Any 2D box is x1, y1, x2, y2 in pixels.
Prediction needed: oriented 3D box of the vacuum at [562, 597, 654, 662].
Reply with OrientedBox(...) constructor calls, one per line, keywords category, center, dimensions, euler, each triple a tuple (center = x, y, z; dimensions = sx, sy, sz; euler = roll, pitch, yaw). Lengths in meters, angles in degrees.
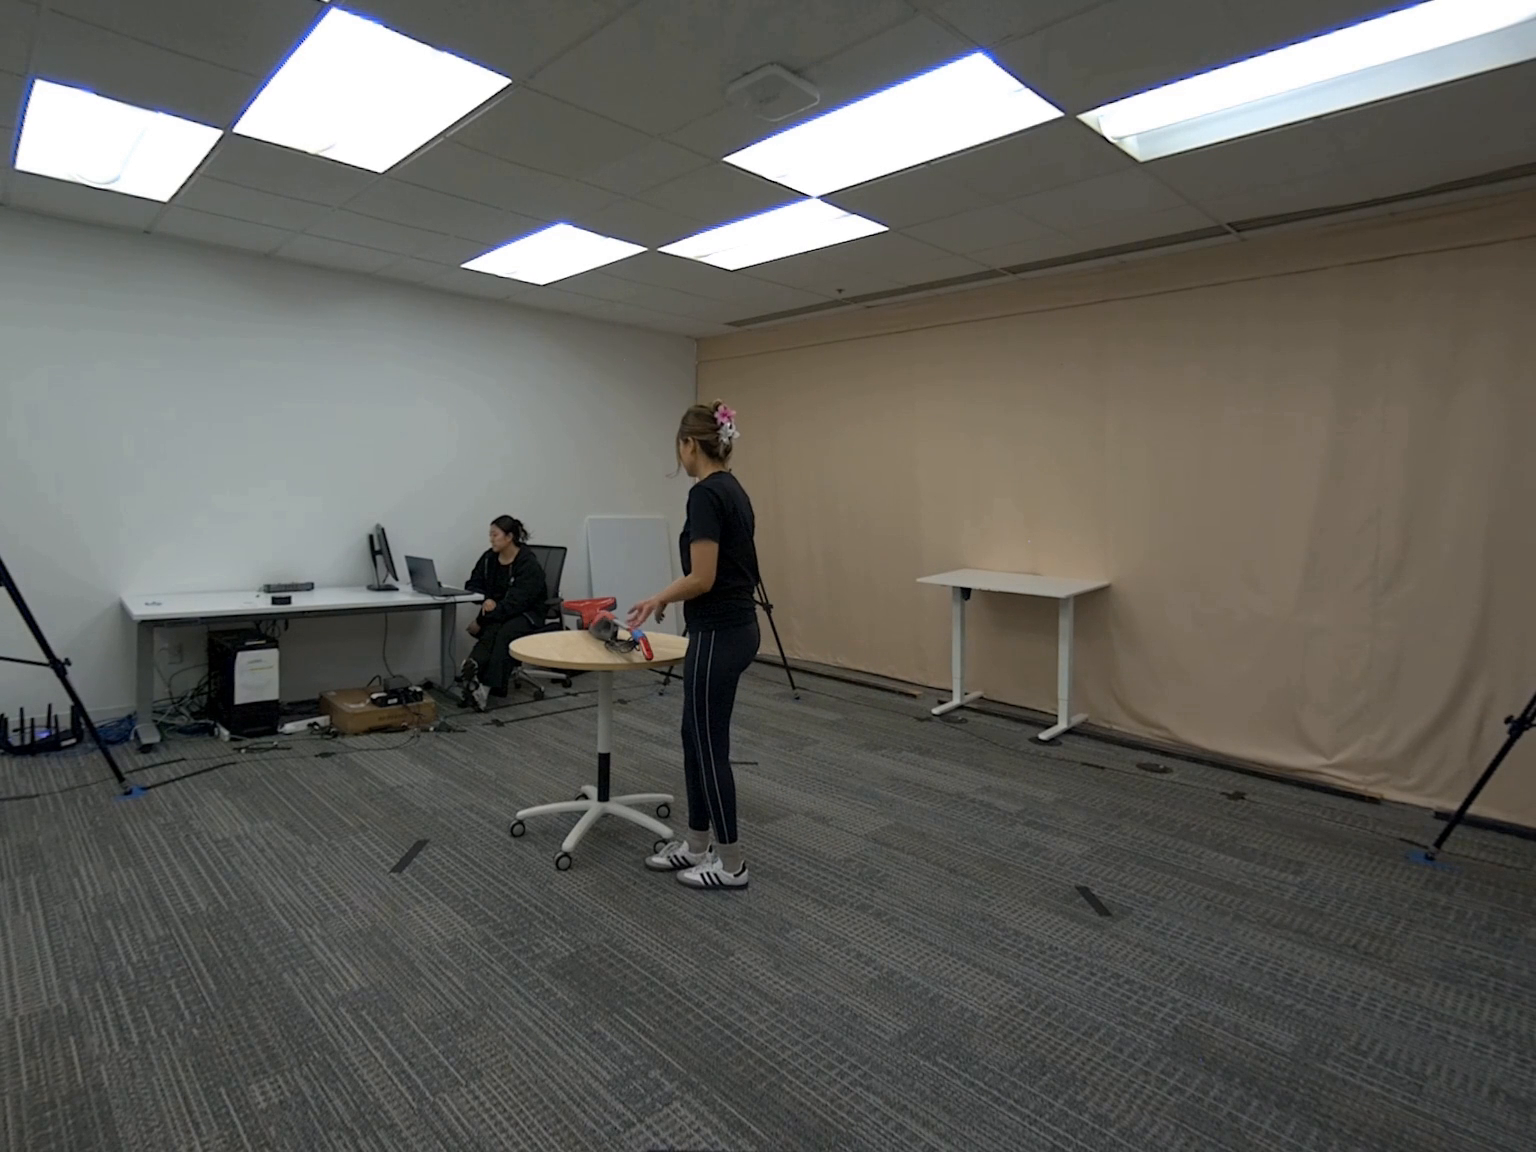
OrientedBox(category="vacuum", center=(-0.625, 0.239, 3.340), dimensions=(0.249, 0.143, 1.069), euler=(-5, 8, -21))
